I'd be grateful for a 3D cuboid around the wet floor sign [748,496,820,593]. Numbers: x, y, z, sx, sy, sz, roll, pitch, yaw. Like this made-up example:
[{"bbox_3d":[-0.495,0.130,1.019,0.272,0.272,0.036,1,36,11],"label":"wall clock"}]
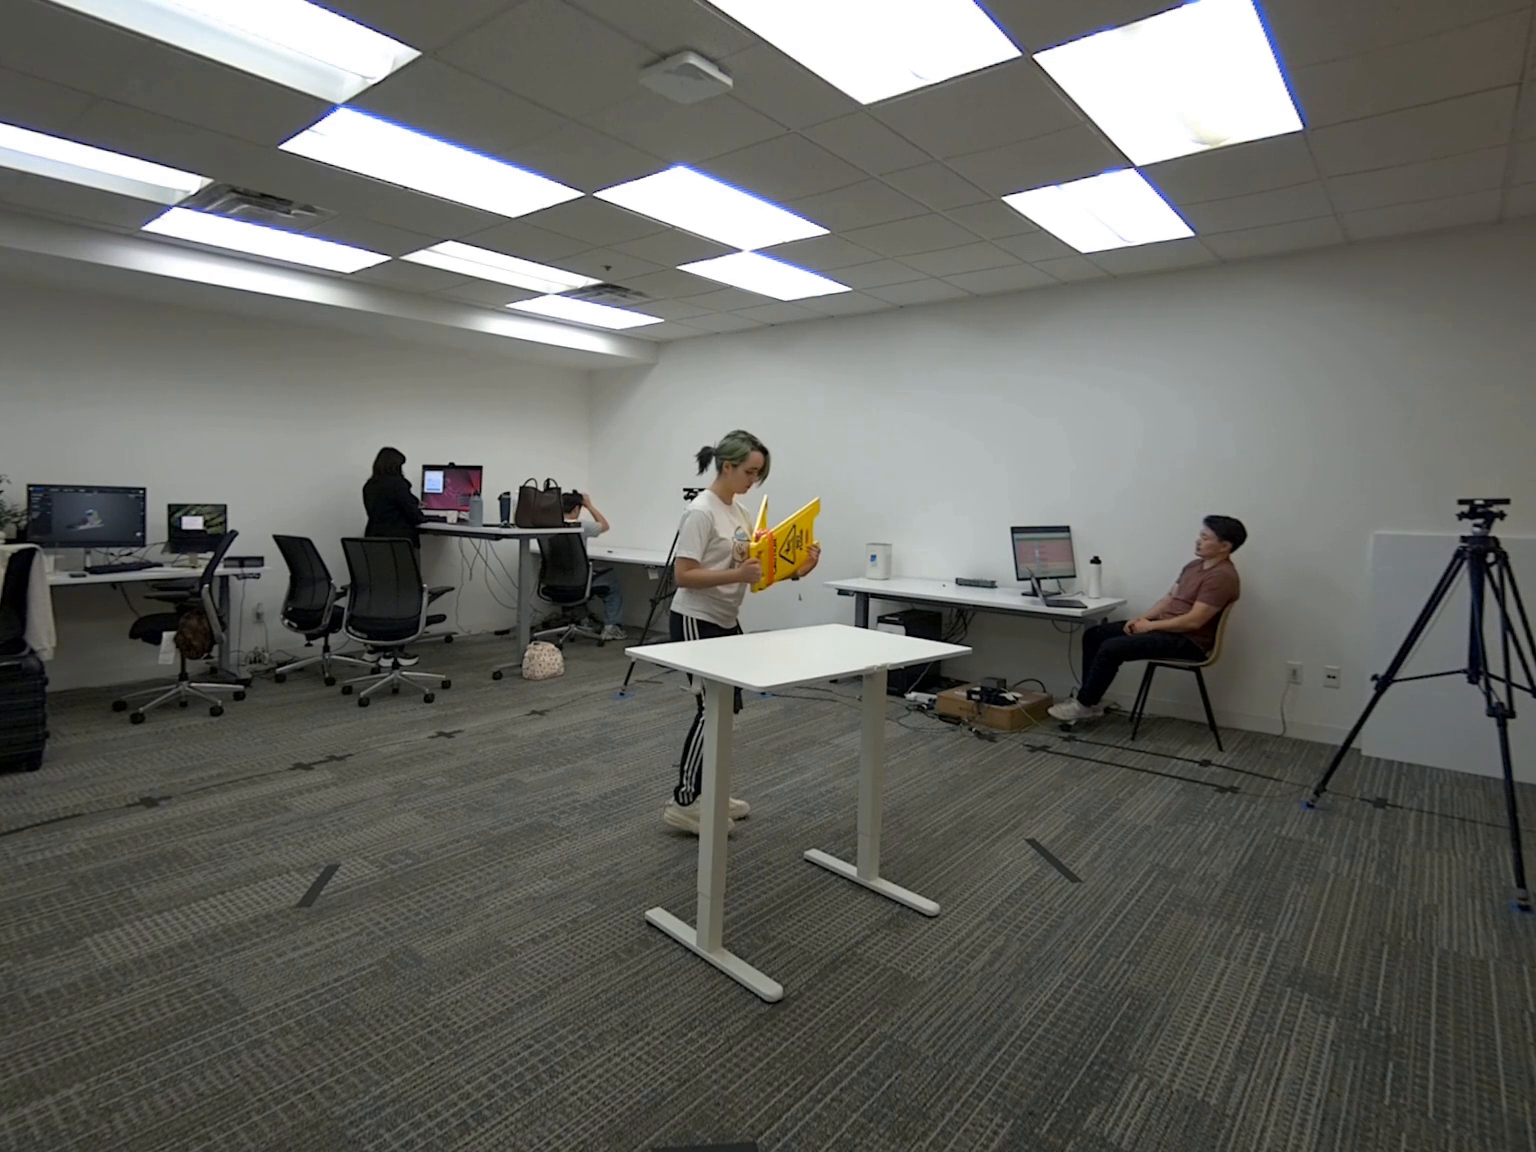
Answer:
[{"bbox_3d":[0.013,-0.128,3.625,0.295,0.277,0.646,3,21,15],"label":"wet floor sign"}]
